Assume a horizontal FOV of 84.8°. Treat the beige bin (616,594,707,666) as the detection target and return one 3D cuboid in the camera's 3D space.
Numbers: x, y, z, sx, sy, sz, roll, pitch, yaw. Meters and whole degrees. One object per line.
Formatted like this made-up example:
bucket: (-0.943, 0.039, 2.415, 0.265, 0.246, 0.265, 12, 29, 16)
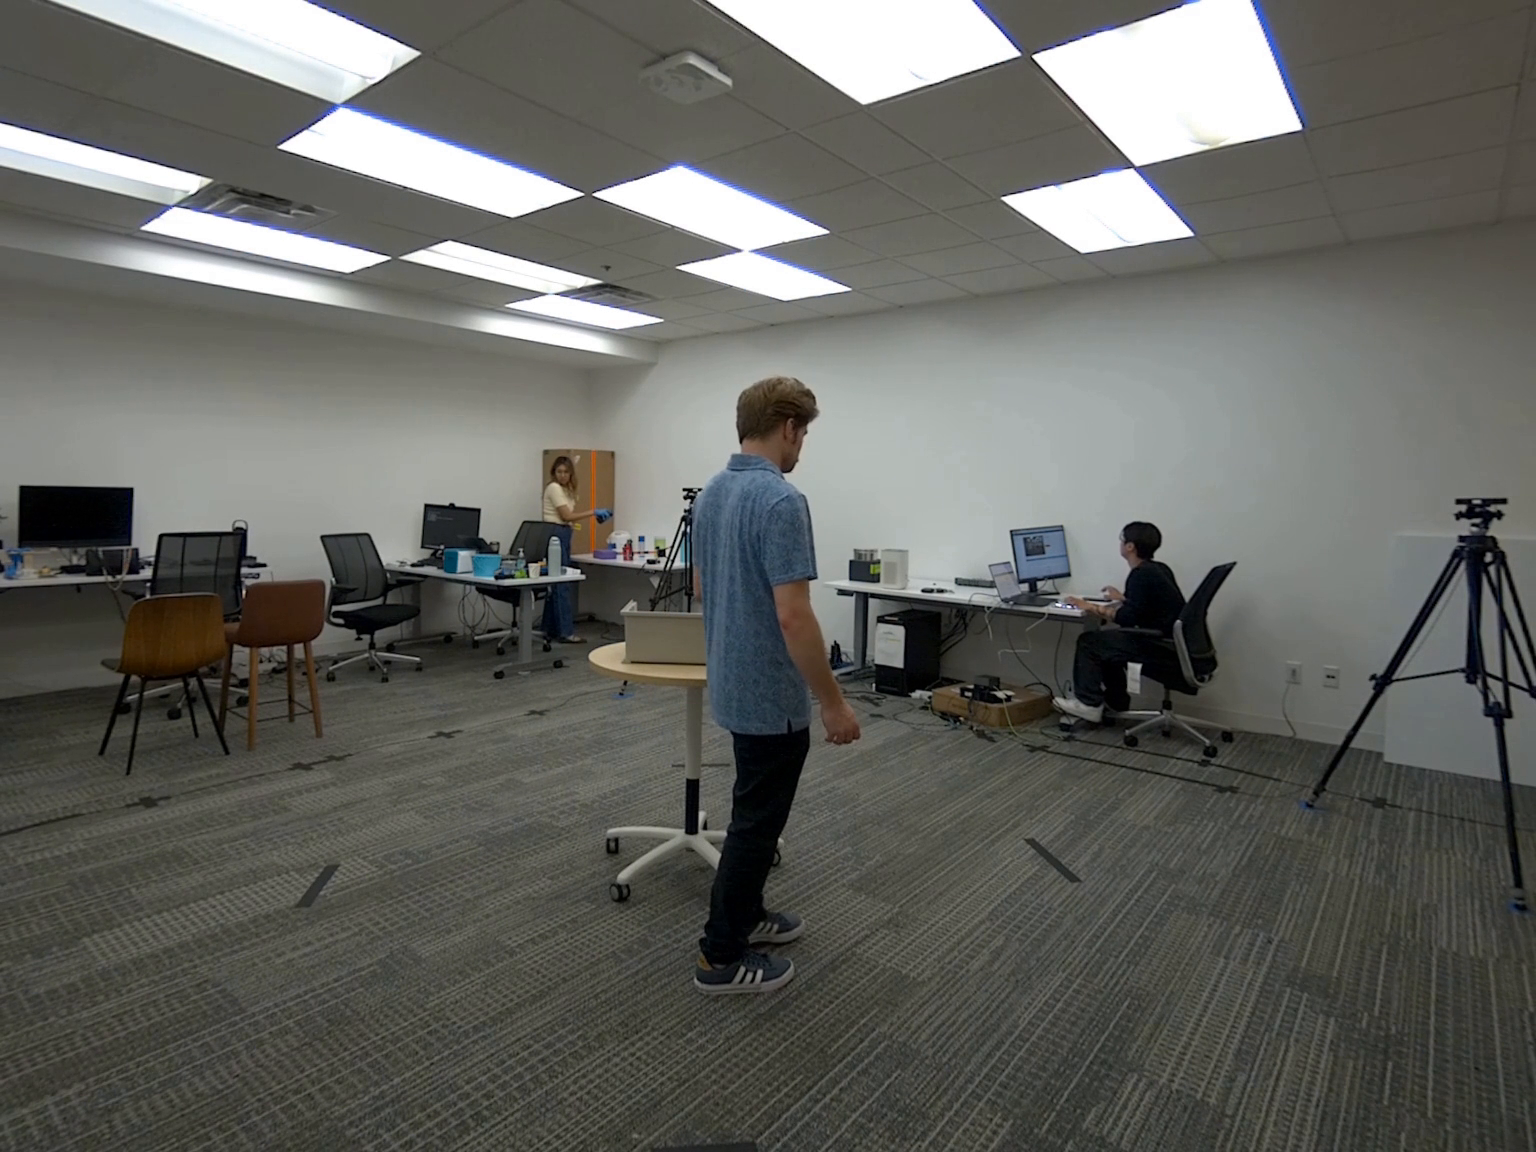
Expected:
beige bin: (-0.318, 0.191, 3.071, 0.422, 0.188, 0.379, 1, 6, -1)
